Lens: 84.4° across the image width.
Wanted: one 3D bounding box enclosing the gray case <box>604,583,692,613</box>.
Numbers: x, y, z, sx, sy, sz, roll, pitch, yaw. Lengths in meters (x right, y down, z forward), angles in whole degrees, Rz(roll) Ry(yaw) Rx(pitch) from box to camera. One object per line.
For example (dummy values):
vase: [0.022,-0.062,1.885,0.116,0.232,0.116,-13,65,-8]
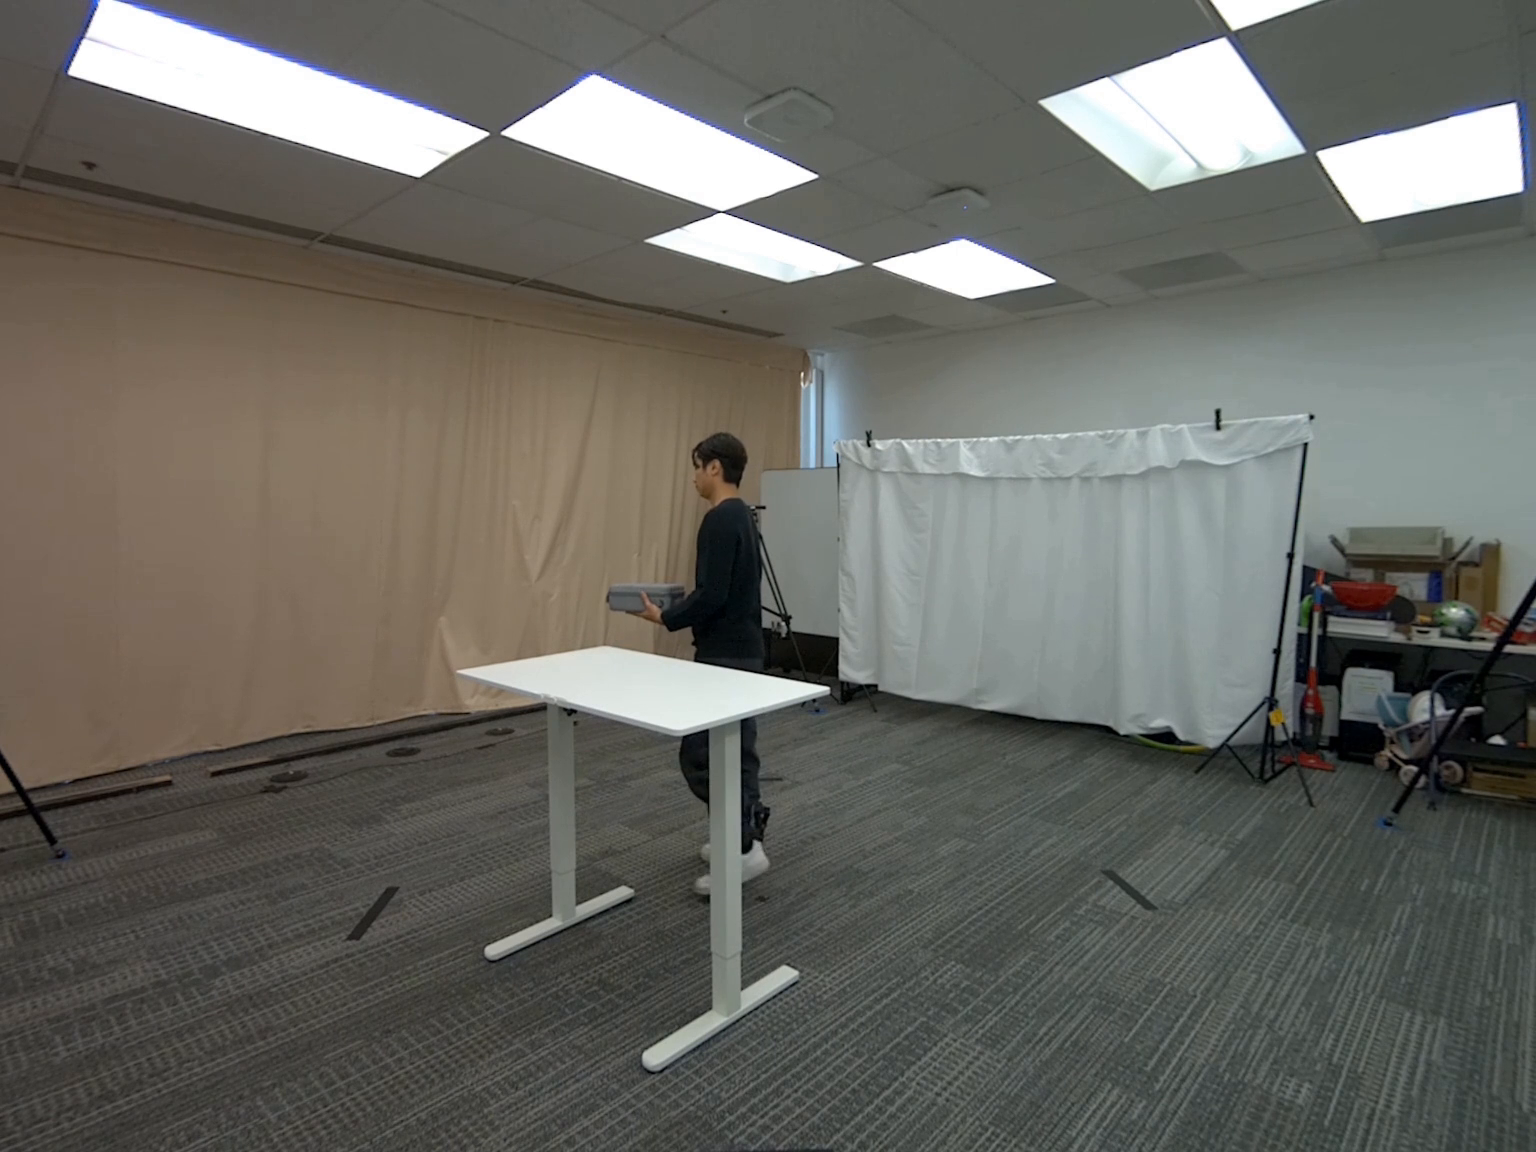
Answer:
gray case: [-0.463,0.080,3.296,0.261,0.104,0.256,0,0,16]
